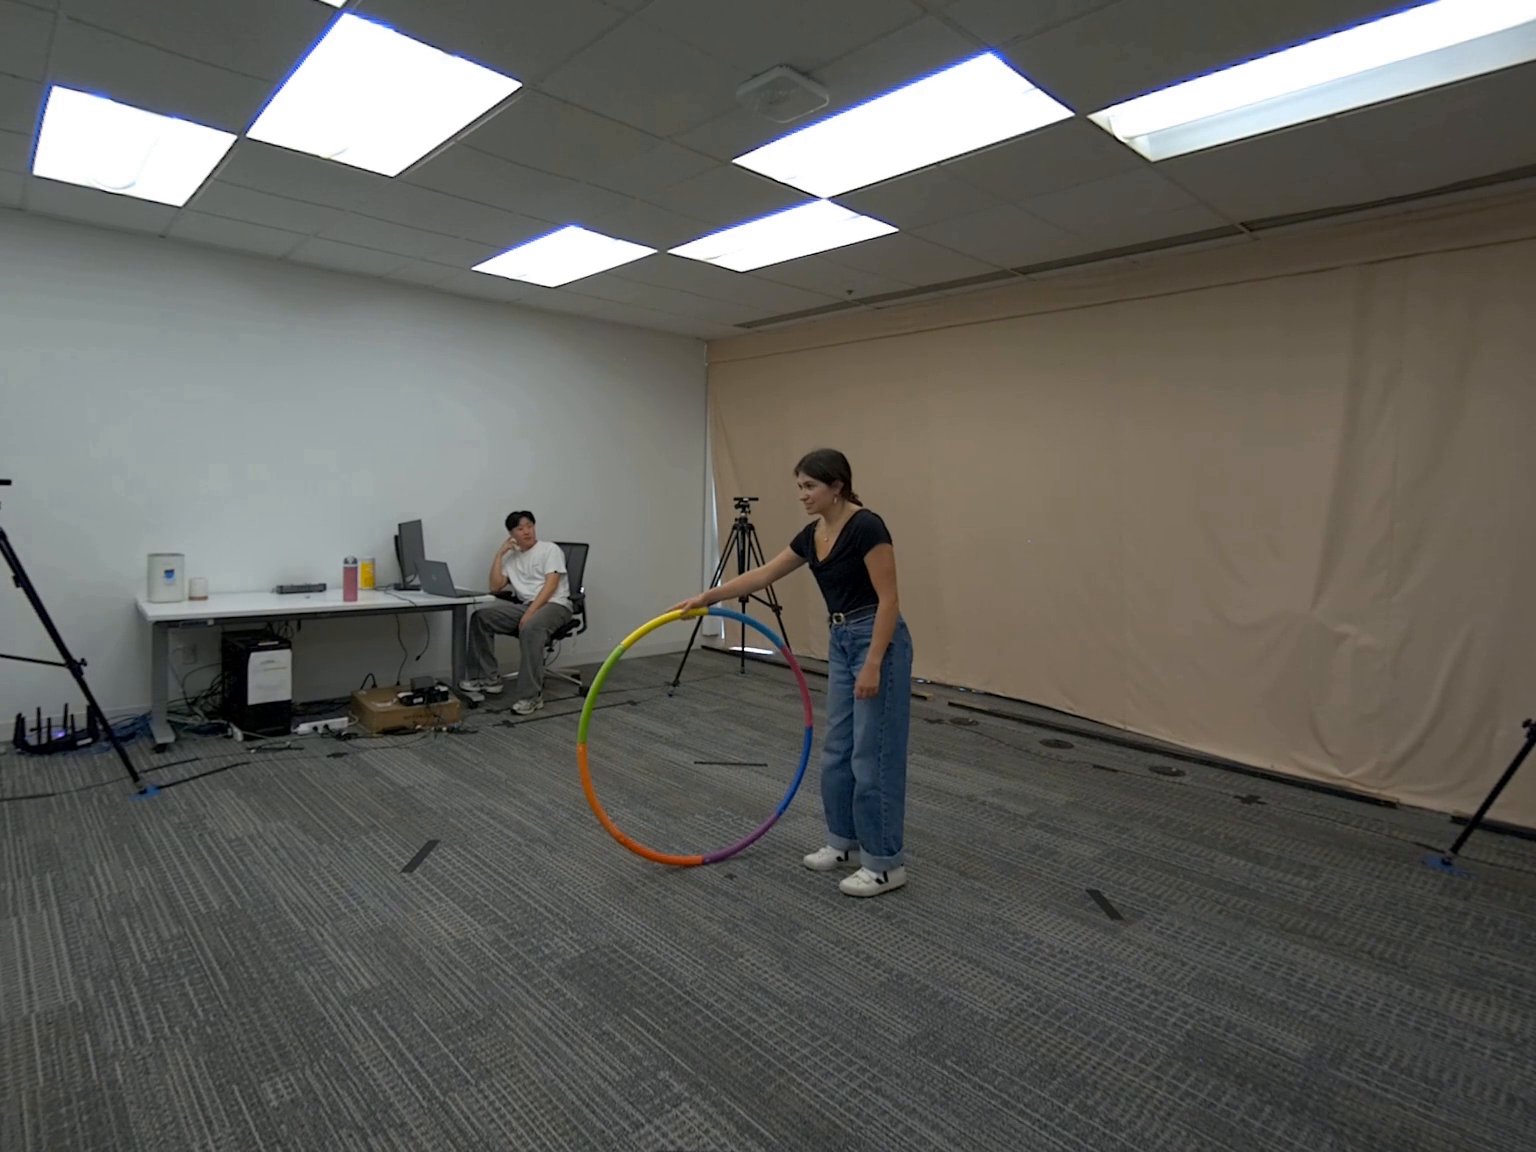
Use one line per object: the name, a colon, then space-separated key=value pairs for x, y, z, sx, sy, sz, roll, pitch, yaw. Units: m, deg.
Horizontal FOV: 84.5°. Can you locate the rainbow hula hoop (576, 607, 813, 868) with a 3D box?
rainbow hula hoop: x=-0.253 y=0.611 z=3.220 sx=0.960 sy=0.980 sz=0.036 roll=-1 pitch=-2 yaw=-28
